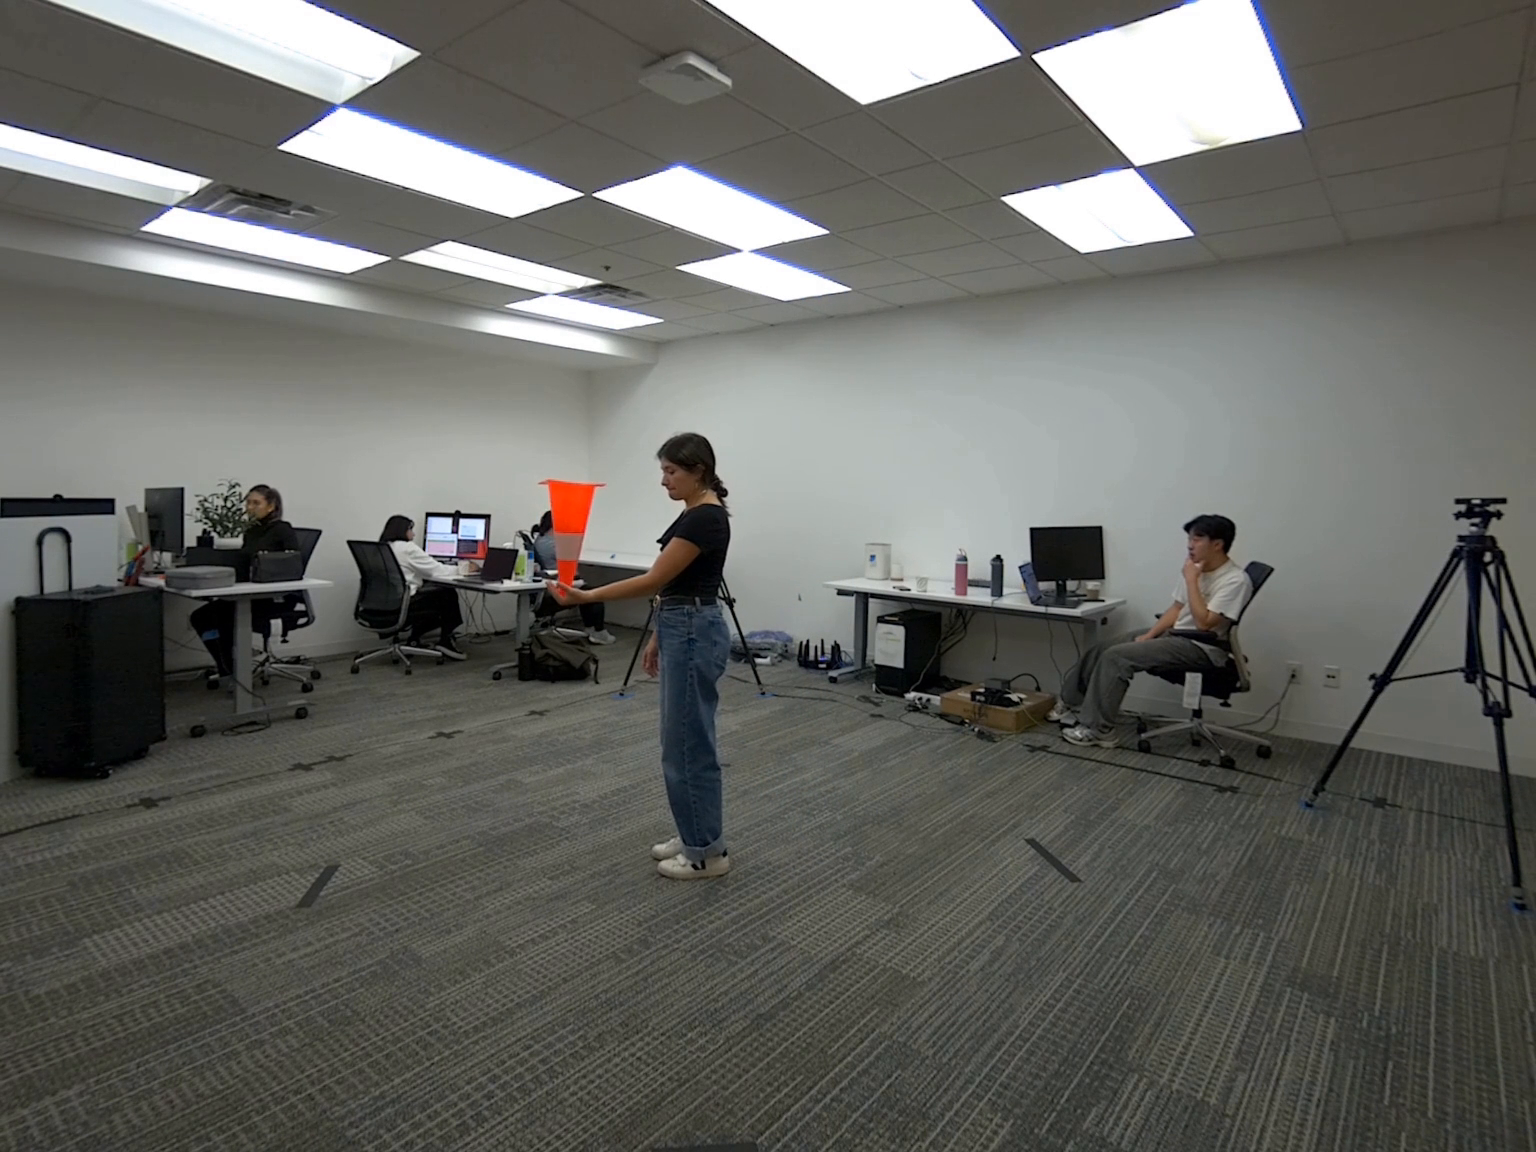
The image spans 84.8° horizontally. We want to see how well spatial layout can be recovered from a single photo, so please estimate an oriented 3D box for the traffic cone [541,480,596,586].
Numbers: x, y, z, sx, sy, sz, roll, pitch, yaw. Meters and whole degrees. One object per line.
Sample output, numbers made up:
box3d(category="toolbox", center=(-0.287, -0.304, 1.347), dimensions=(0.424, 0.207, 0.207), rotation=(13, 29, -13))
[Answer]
box3d(category="traffic cone", center=(-0.679, -0.120, 2.863), dimensions=(0.199, 0.383, 0.209), rotation=(2, 2, -20))
